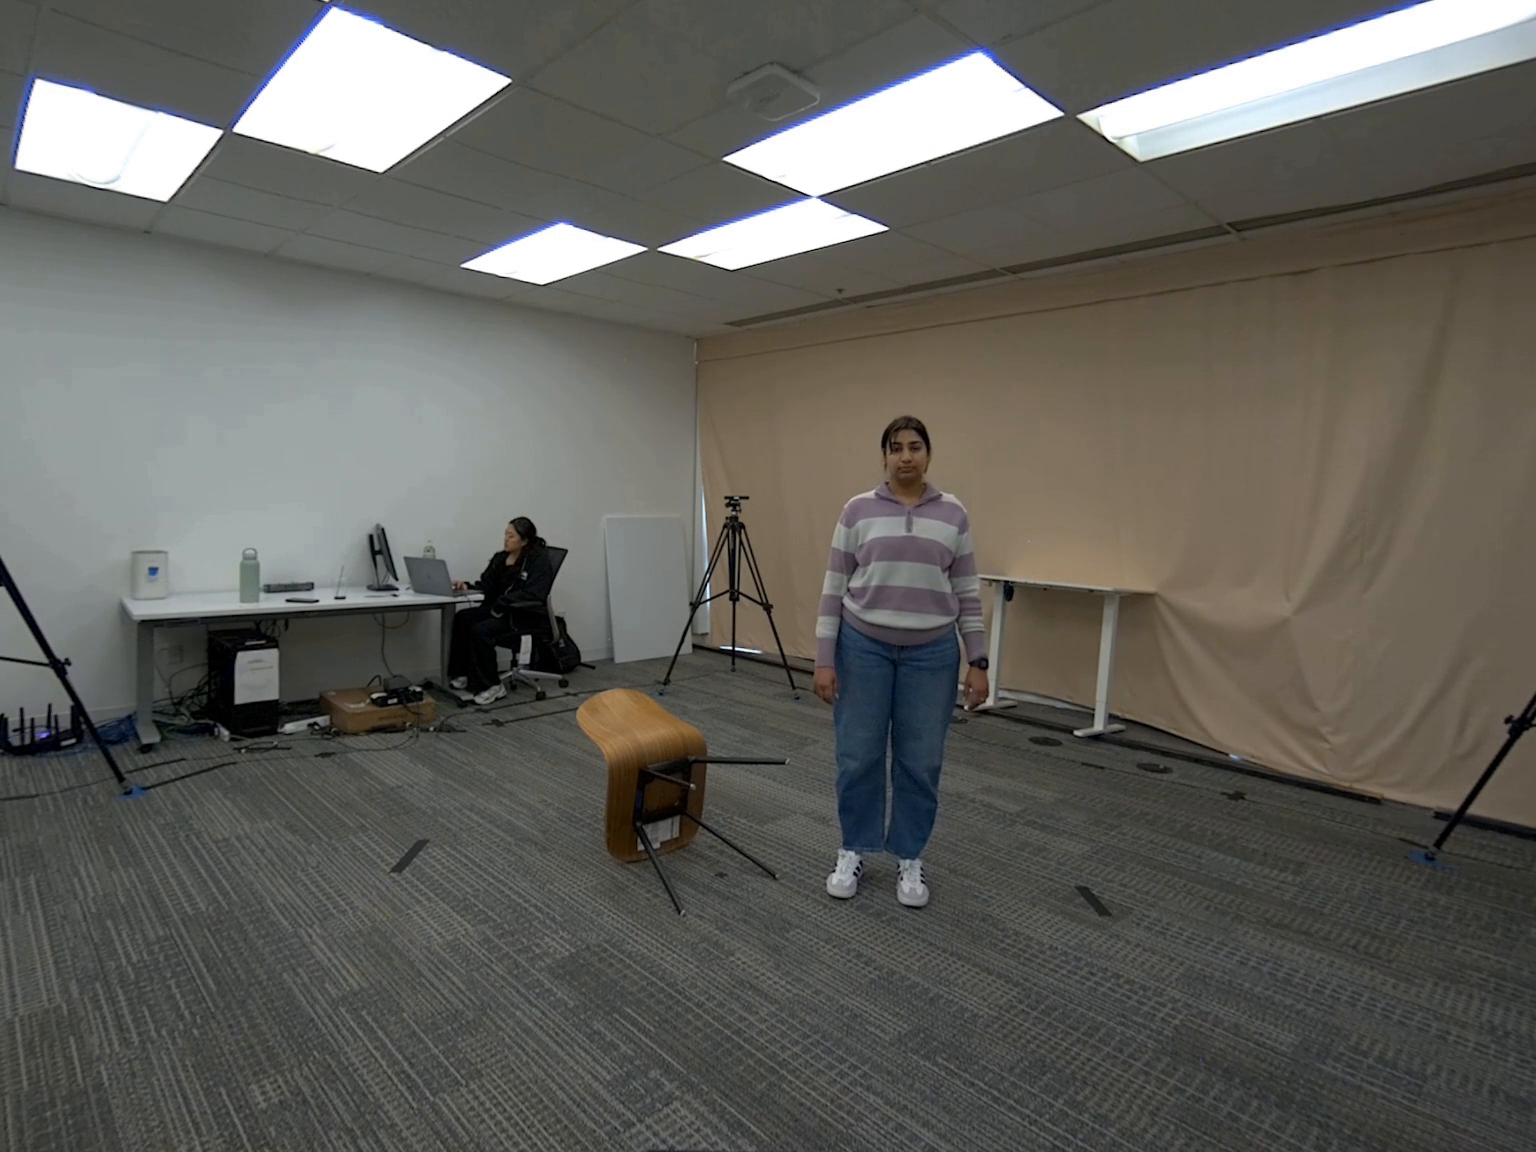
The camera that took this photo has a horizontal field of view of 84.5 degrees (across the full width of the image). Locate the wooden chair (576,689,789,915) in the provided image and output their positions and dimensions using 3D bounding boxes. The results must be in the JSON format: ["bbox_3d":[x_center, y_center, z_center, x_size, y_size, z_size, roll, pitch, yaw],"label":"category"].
[{"bbox_3d":[-0.400,0.831,3.229,0.467,0.519,0.903,-3,15,-42],"label":"wooden chair"}]
